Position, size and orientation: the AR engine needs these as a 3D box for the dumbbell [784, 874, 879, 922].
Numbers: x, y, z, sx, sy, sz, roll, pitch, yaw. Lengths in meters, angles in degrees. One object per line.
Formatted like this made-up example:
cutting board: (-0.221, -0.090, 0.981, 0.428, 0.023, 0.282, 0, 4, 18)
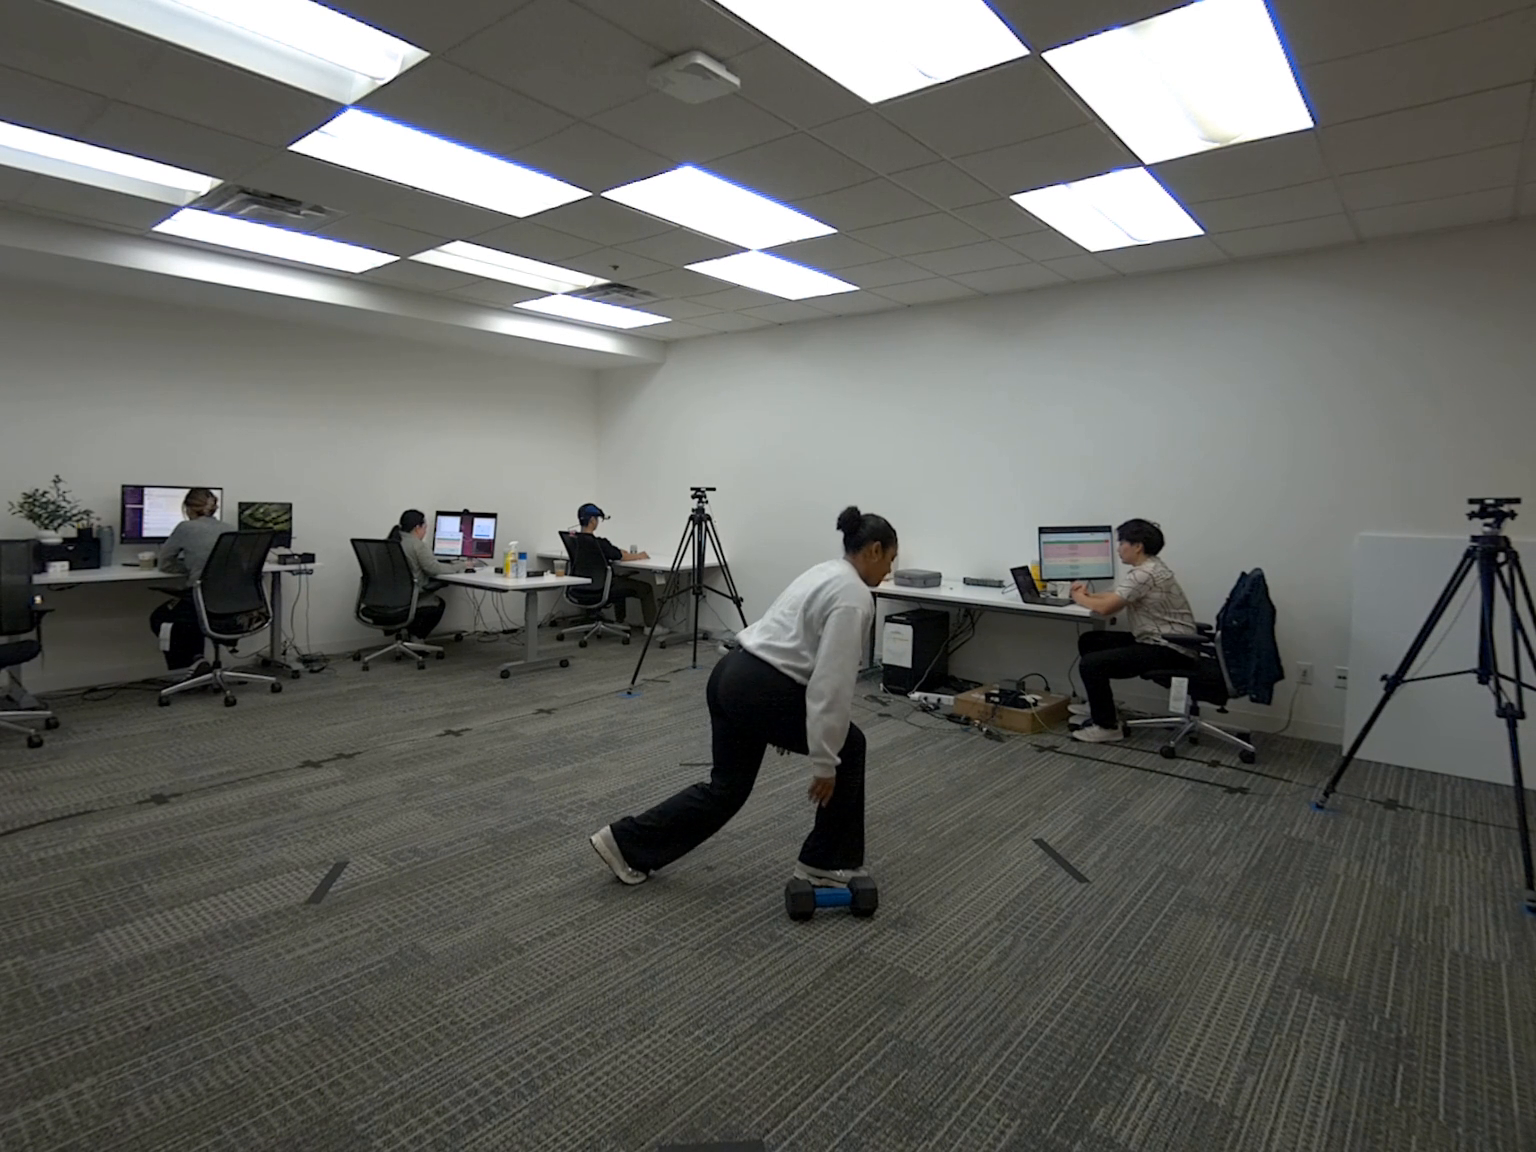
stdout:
dumbbell: (0.200, 1.052, 2.792, 0.290, 0.125, 0.108, 0, -19, -10)
